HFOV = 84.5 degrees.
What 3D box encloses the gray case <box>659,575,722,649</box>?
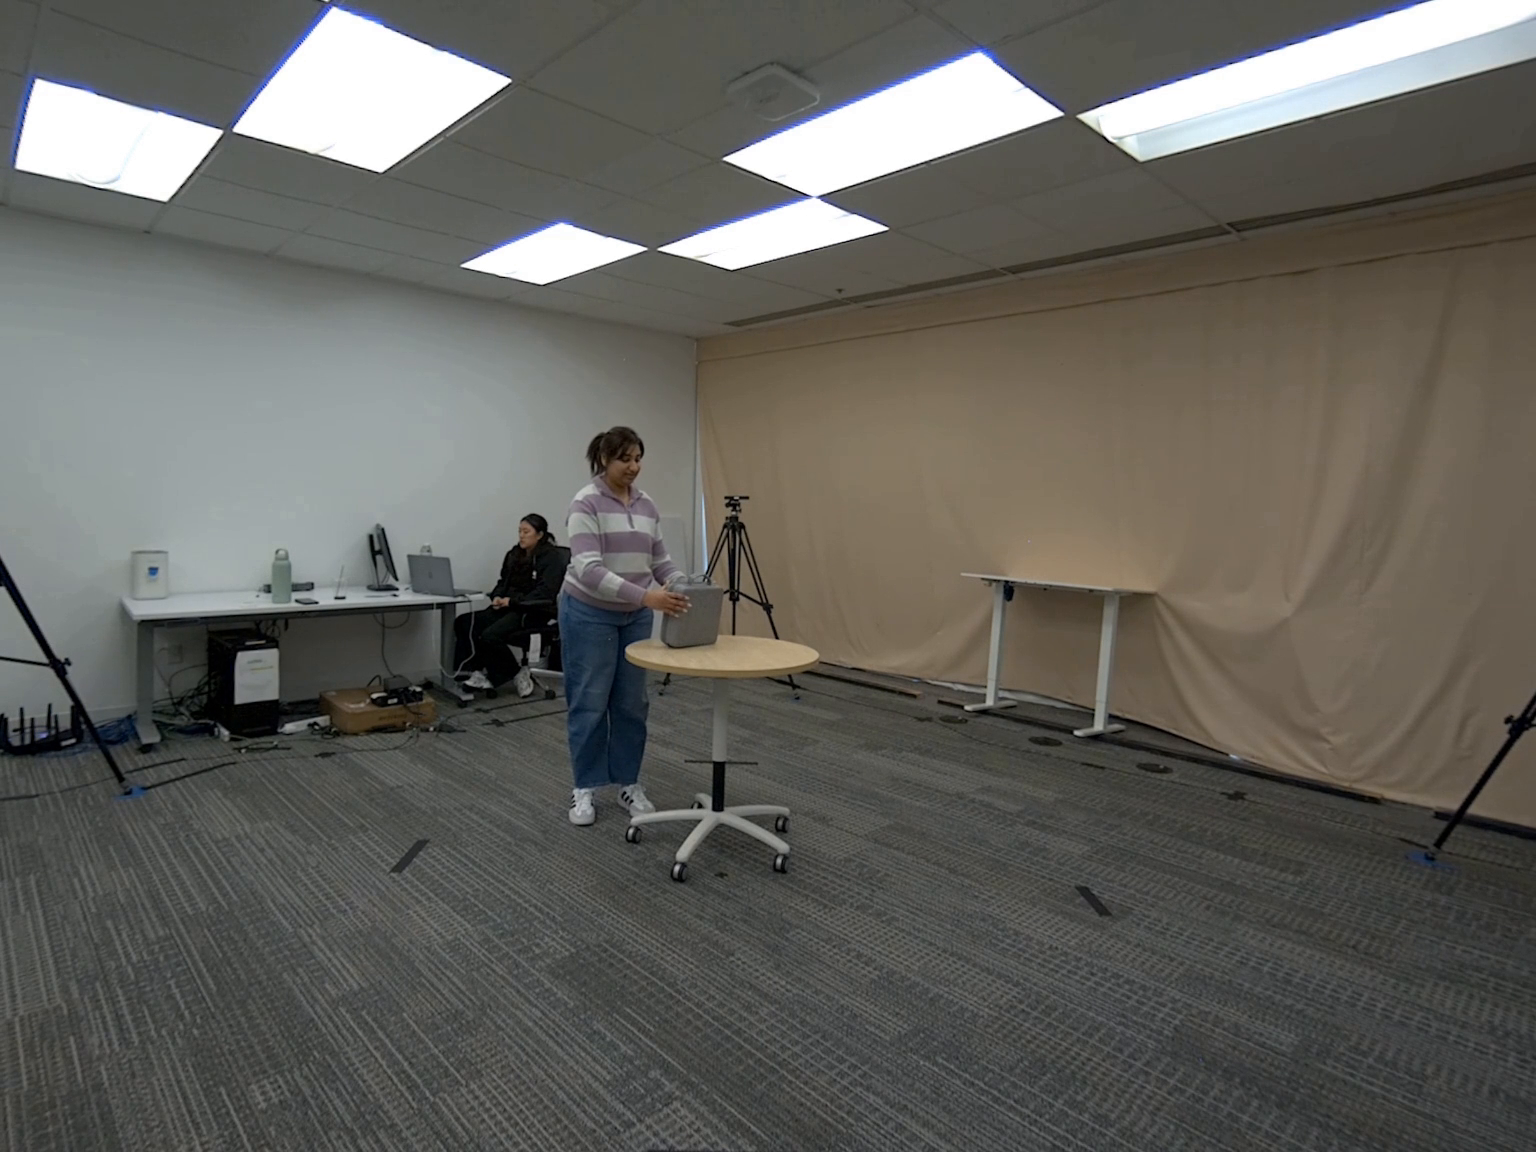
[{"bbox_3d":[-0.315,0.151,3.437,0.107,0.259,0.251,14,10,40],"label":"gray case"}]
